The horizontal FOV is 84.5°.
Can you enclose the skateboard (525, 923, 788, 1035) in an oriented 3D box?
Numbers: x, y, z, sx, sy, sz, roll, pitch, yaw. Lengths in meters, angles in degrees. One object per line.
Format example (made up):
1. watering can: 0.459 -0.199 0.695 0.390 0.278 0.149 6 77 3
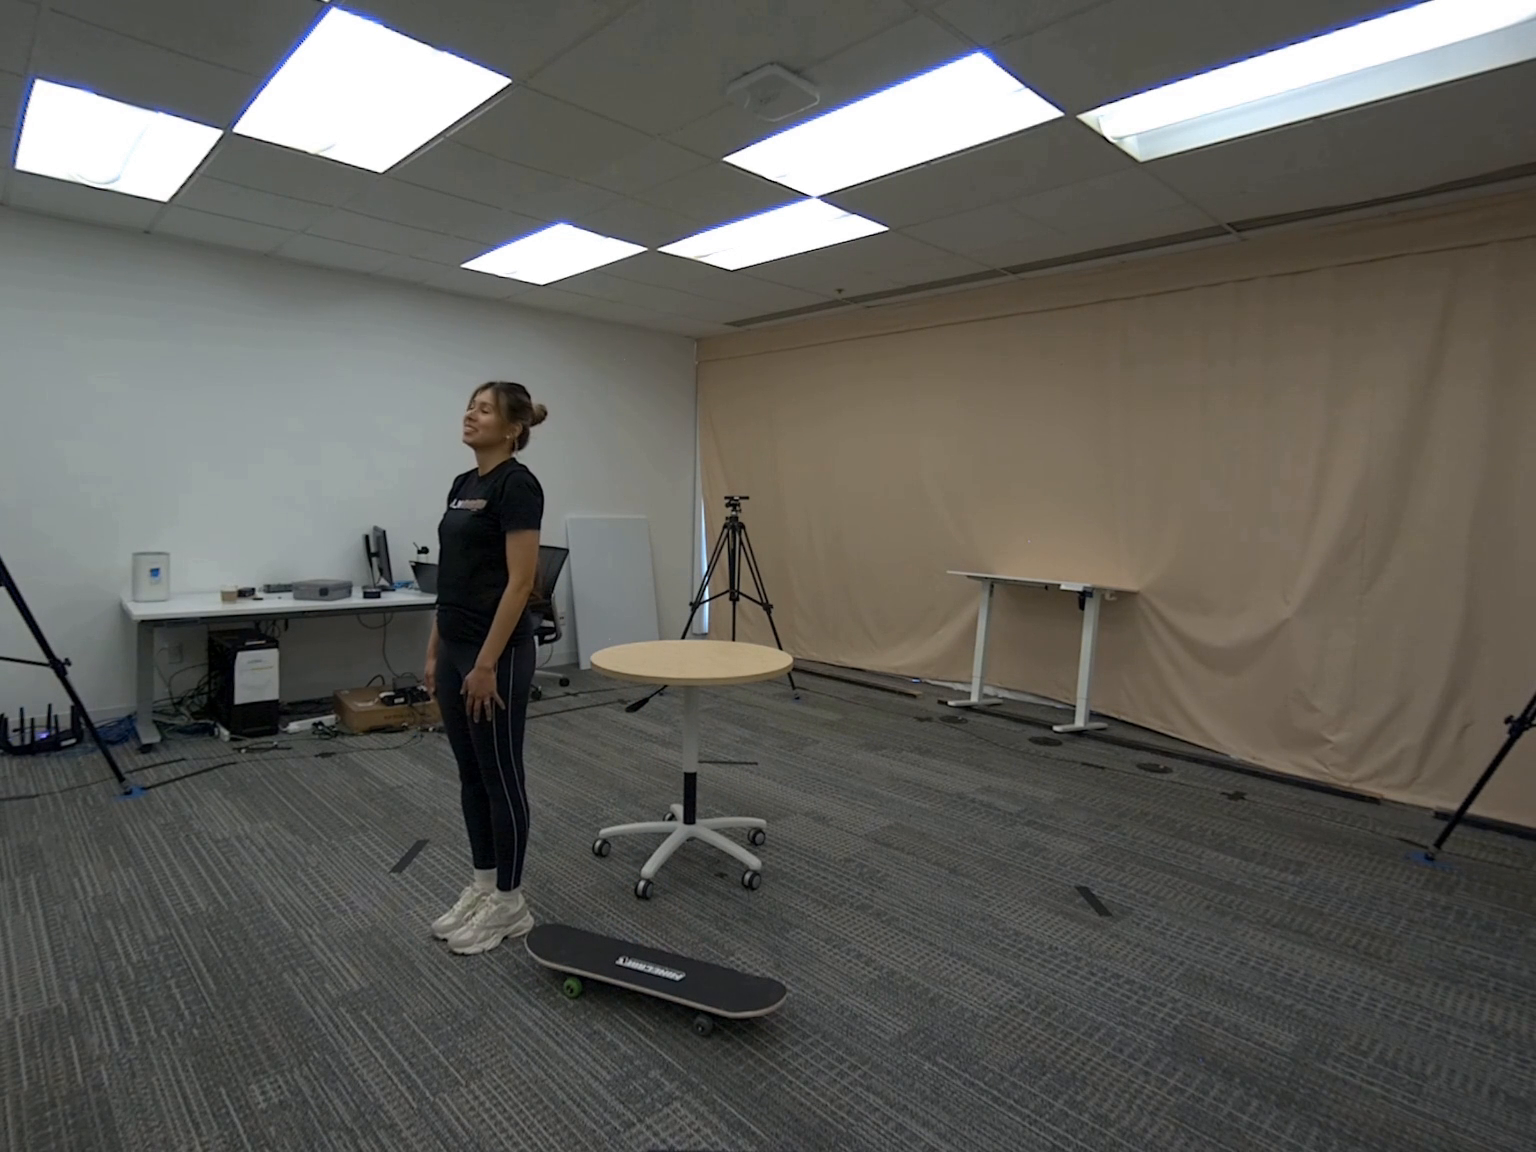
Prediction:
1. skateboard: -0.331 1.118 2.322 0.799 0.110 0.190 3 4 22
